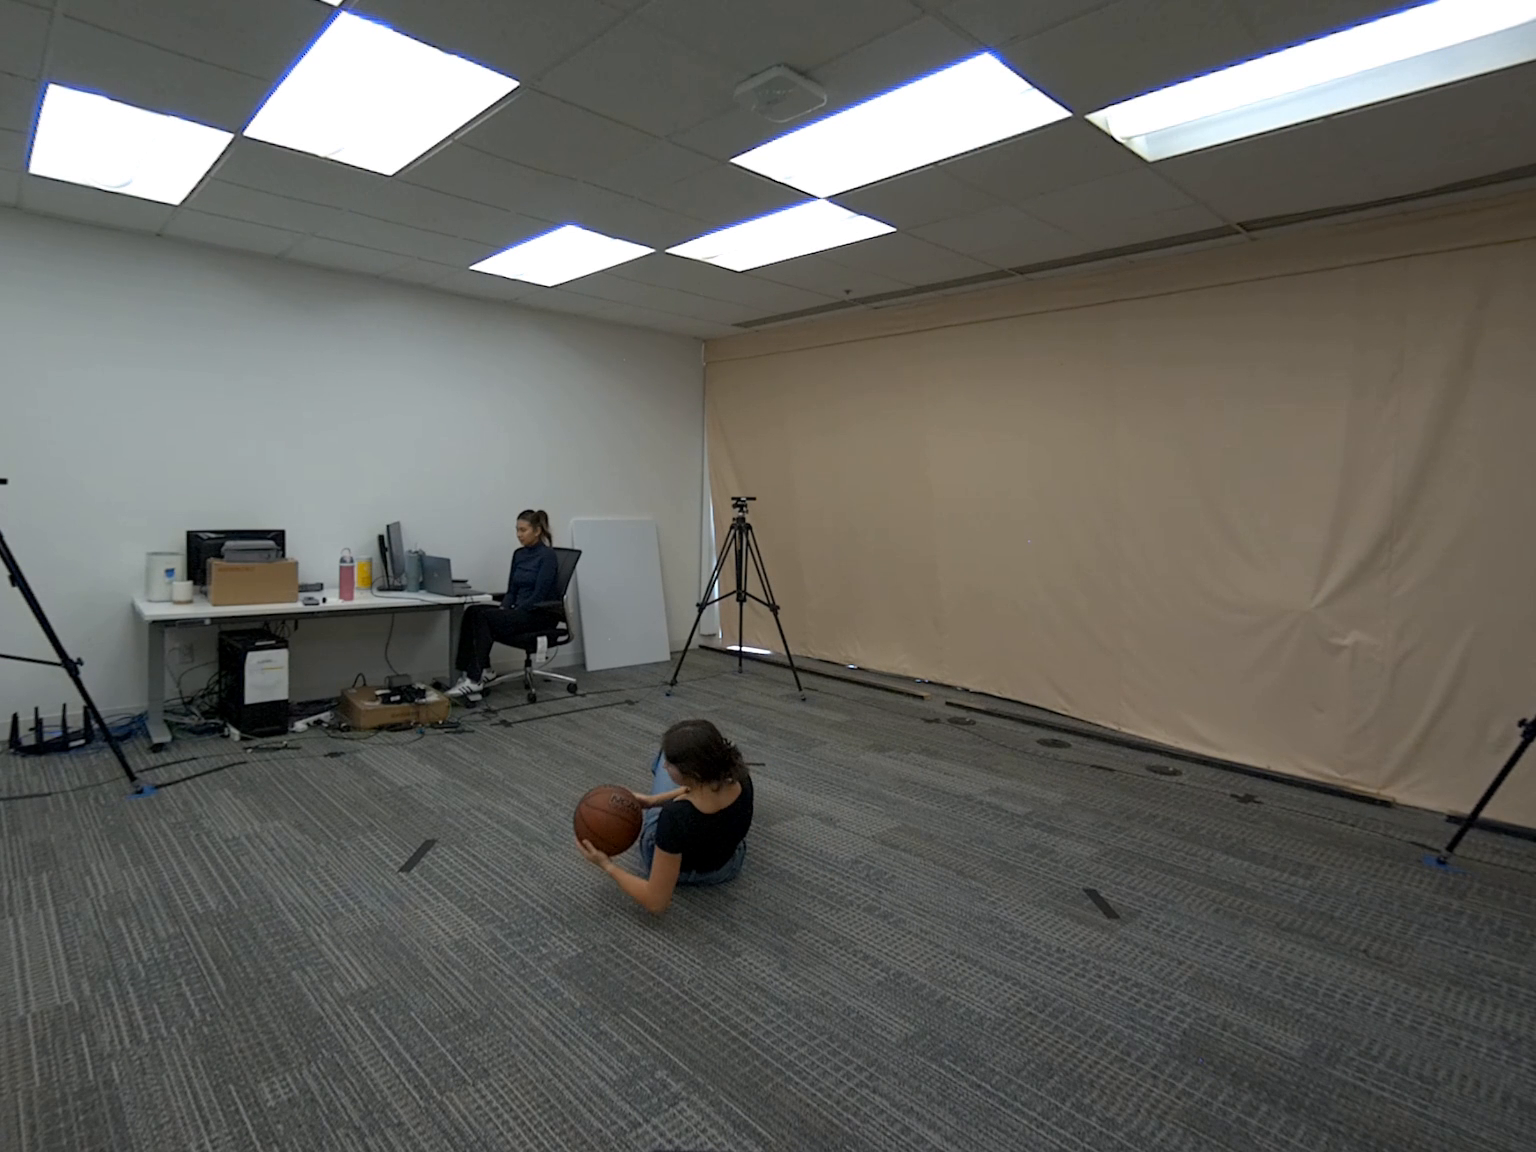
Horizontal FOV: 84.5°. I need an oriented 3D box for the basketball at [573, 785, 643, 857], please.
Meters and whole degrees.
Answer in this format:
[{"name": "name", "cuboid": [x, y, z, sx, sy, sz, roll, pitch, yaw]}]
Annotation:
[{"name": "basketball", "cuboid": [-0.545, 0.834, 2.915, 0.236, 0.235, 0.237, 1, 4, -1]}]
